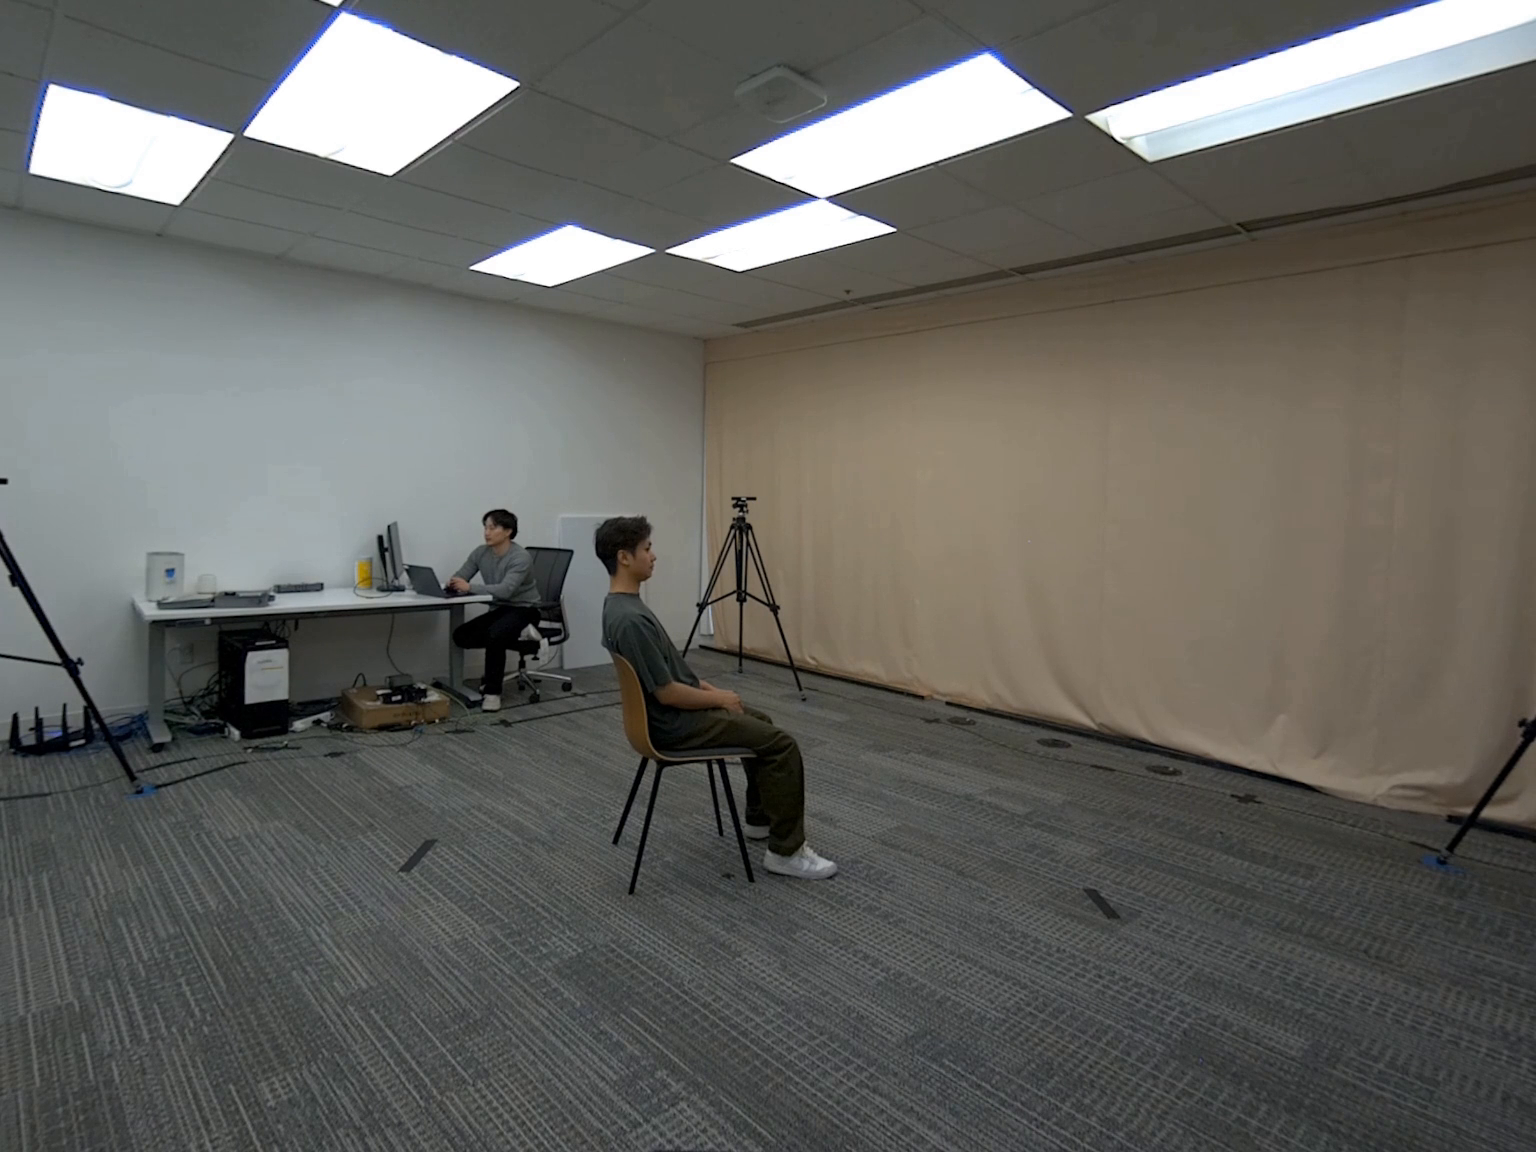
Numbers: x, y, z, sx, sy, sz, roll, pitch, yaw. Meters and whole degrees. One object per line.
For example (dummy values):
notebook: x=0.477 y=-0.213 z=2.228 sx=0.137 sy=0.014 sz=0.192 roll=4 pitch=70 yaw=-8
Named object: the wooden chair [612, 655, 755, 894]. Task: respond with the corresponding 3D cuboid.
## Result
wooden chair: x=-0.328 y=0.663 z=3.182 sx=0.517 sy=0.875 sz=0.485 roll=-4 pitch=4 yaw=-16
